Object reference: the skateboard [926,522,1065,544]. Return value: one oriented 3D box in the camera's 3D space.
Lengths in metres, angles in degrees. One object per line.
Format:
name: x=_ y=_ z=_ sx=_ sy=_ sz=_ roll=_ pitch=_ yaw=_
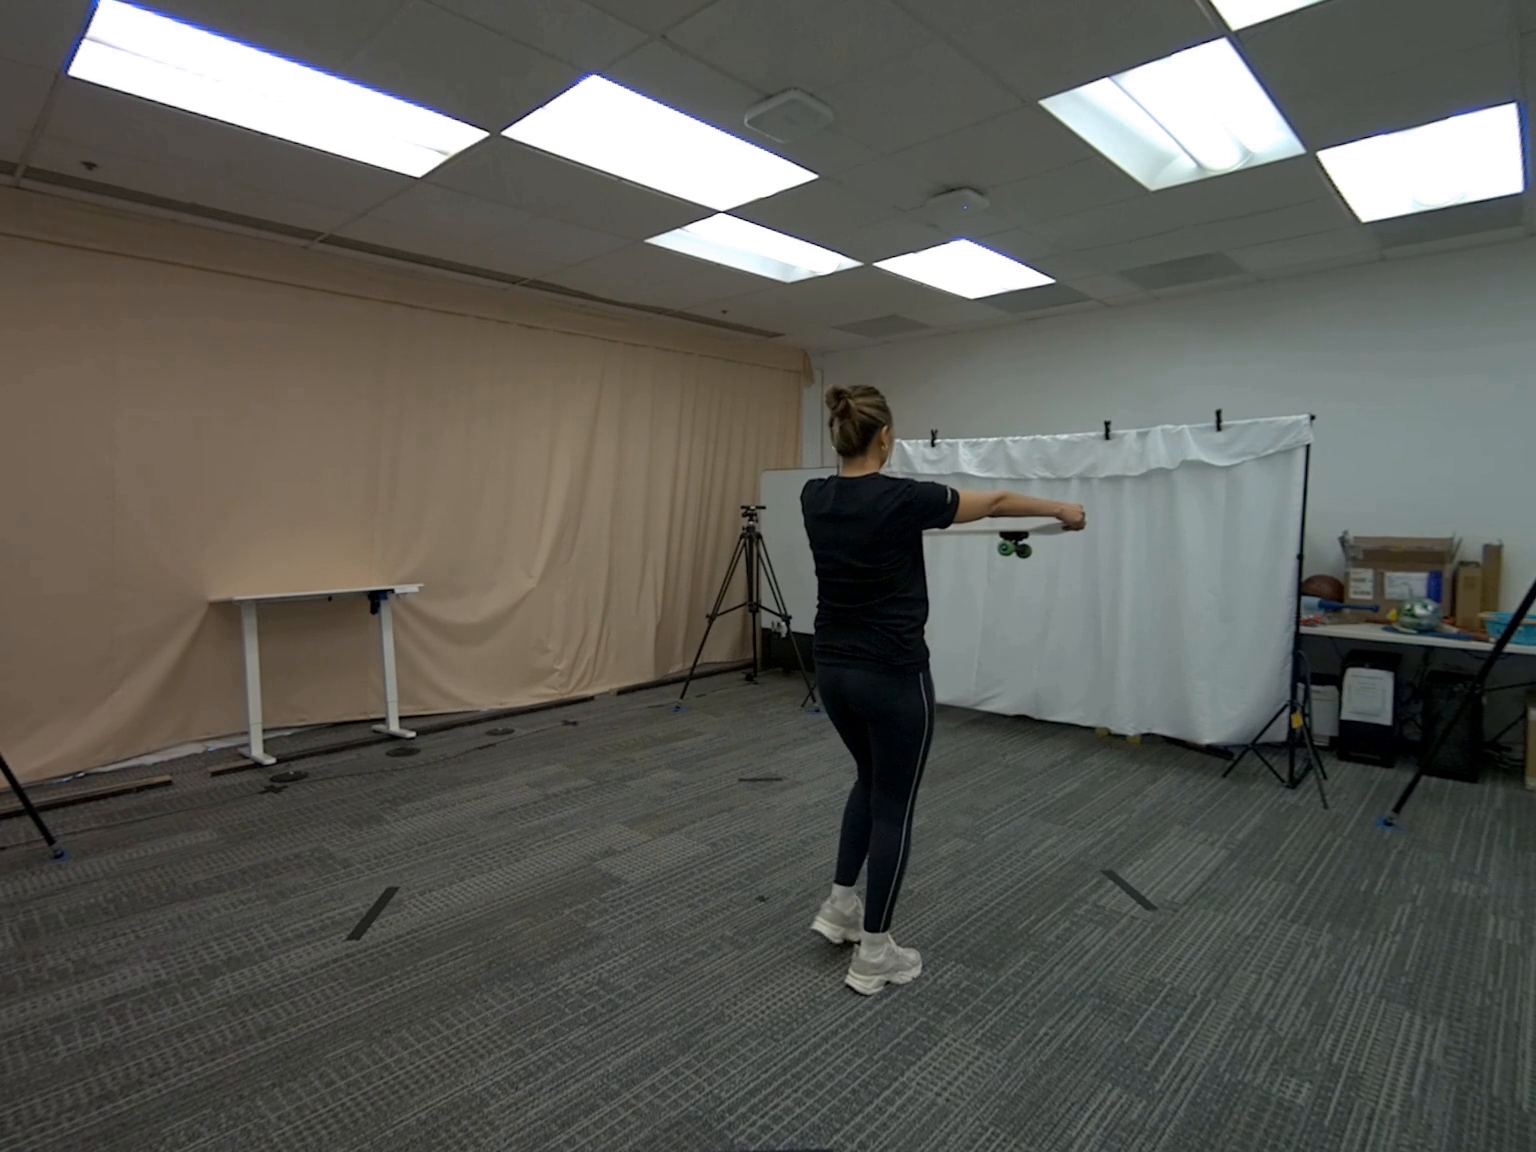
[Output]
skateboard: x=0.656 y=-0.126 z=2.847 sx=0.810 sy=0.110 sz=0.187 roll=1 pitch=-6 yaw=37
